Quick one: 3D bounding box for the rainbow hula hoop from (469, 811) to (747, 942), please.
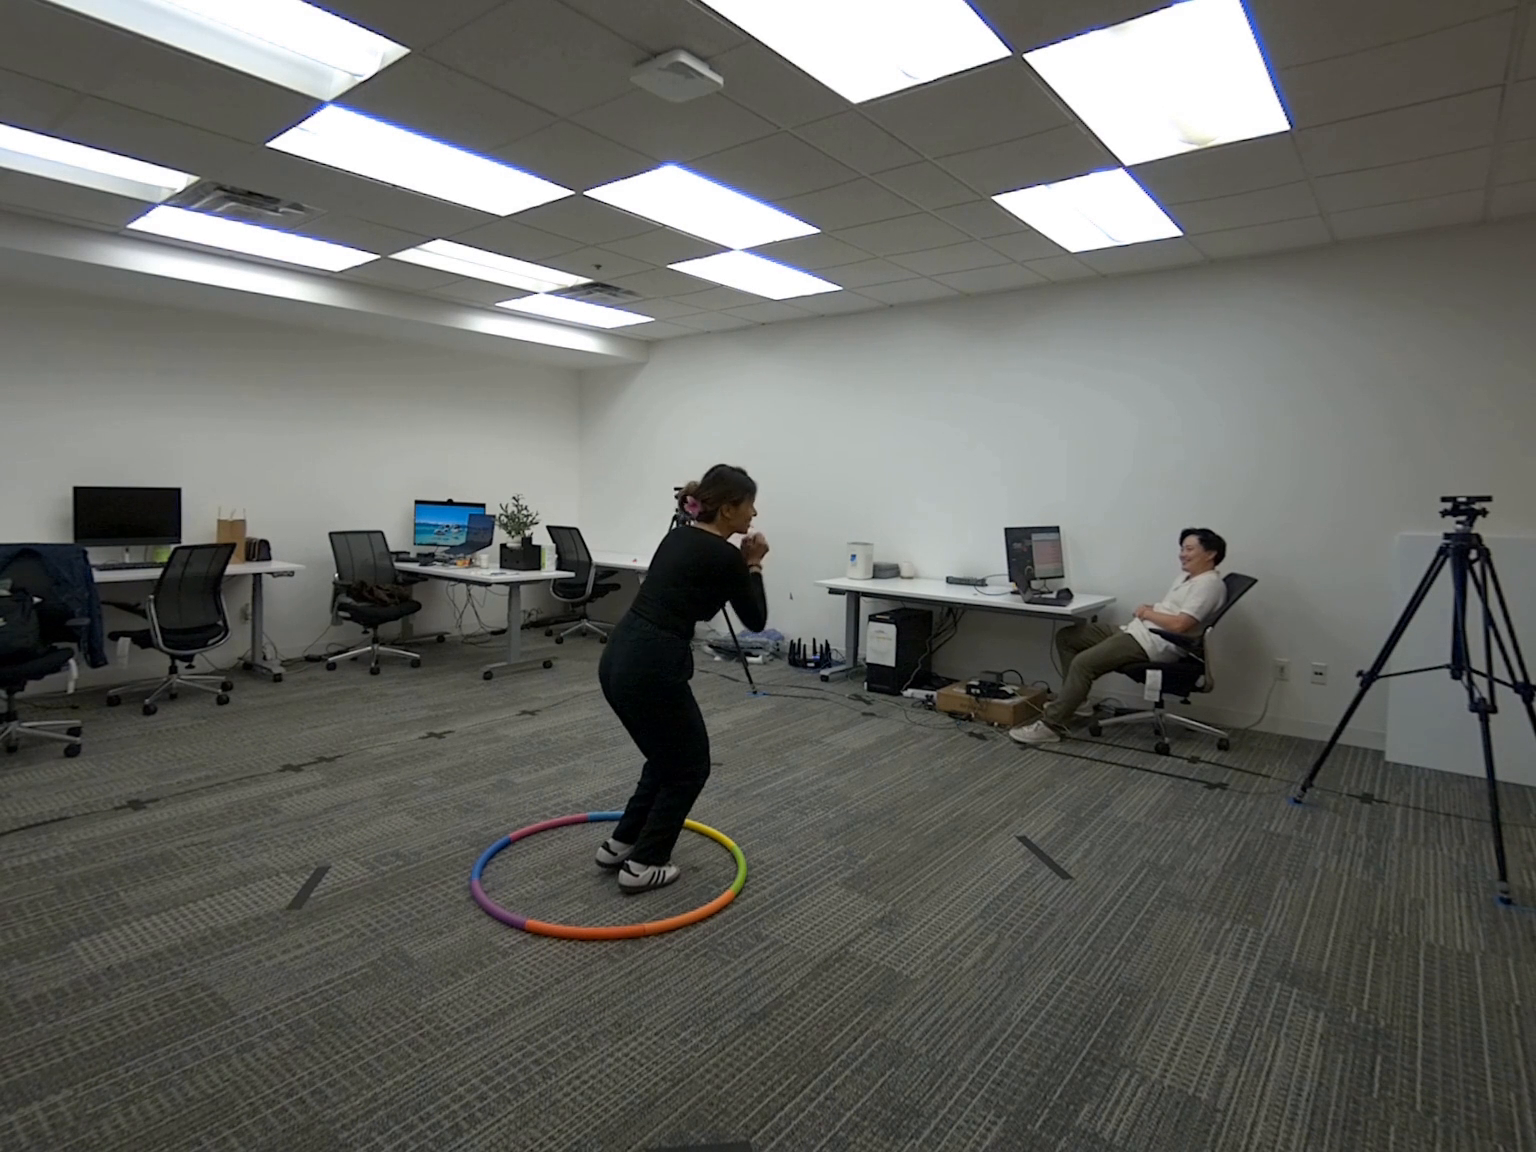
[{"bbox_3d":[-0.573,1.035,3.083,0.978,0.035,0.984,1,6,-2],"label":"rainbow hula hoop"}]
